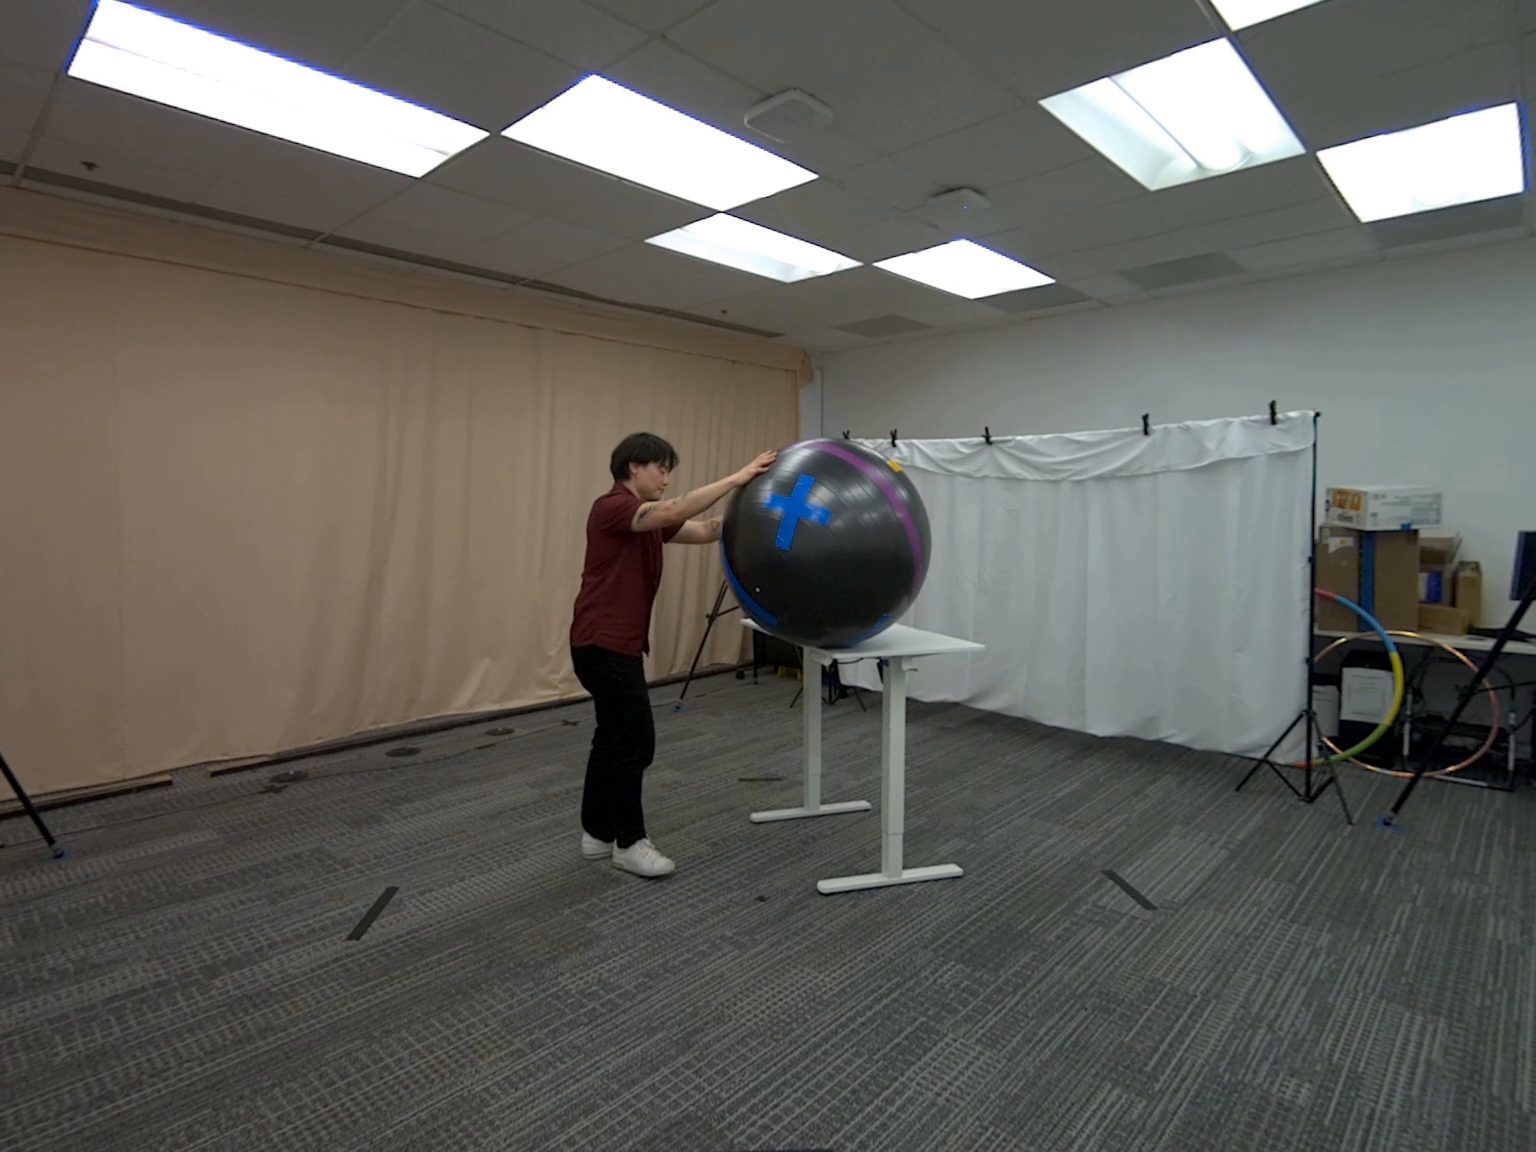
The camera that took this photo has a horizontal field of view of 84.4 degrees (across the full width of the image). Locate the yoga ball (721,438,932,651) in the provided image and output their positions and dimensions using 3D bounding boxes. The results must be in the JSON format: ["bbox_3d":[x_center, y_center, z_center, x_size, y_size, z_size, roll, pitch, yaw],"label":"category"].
[{"bbox_3d":[0.213,-0.113,3.053,0.757,0.756,0.760,0,4,-2],"label":"yoga ball"}]
